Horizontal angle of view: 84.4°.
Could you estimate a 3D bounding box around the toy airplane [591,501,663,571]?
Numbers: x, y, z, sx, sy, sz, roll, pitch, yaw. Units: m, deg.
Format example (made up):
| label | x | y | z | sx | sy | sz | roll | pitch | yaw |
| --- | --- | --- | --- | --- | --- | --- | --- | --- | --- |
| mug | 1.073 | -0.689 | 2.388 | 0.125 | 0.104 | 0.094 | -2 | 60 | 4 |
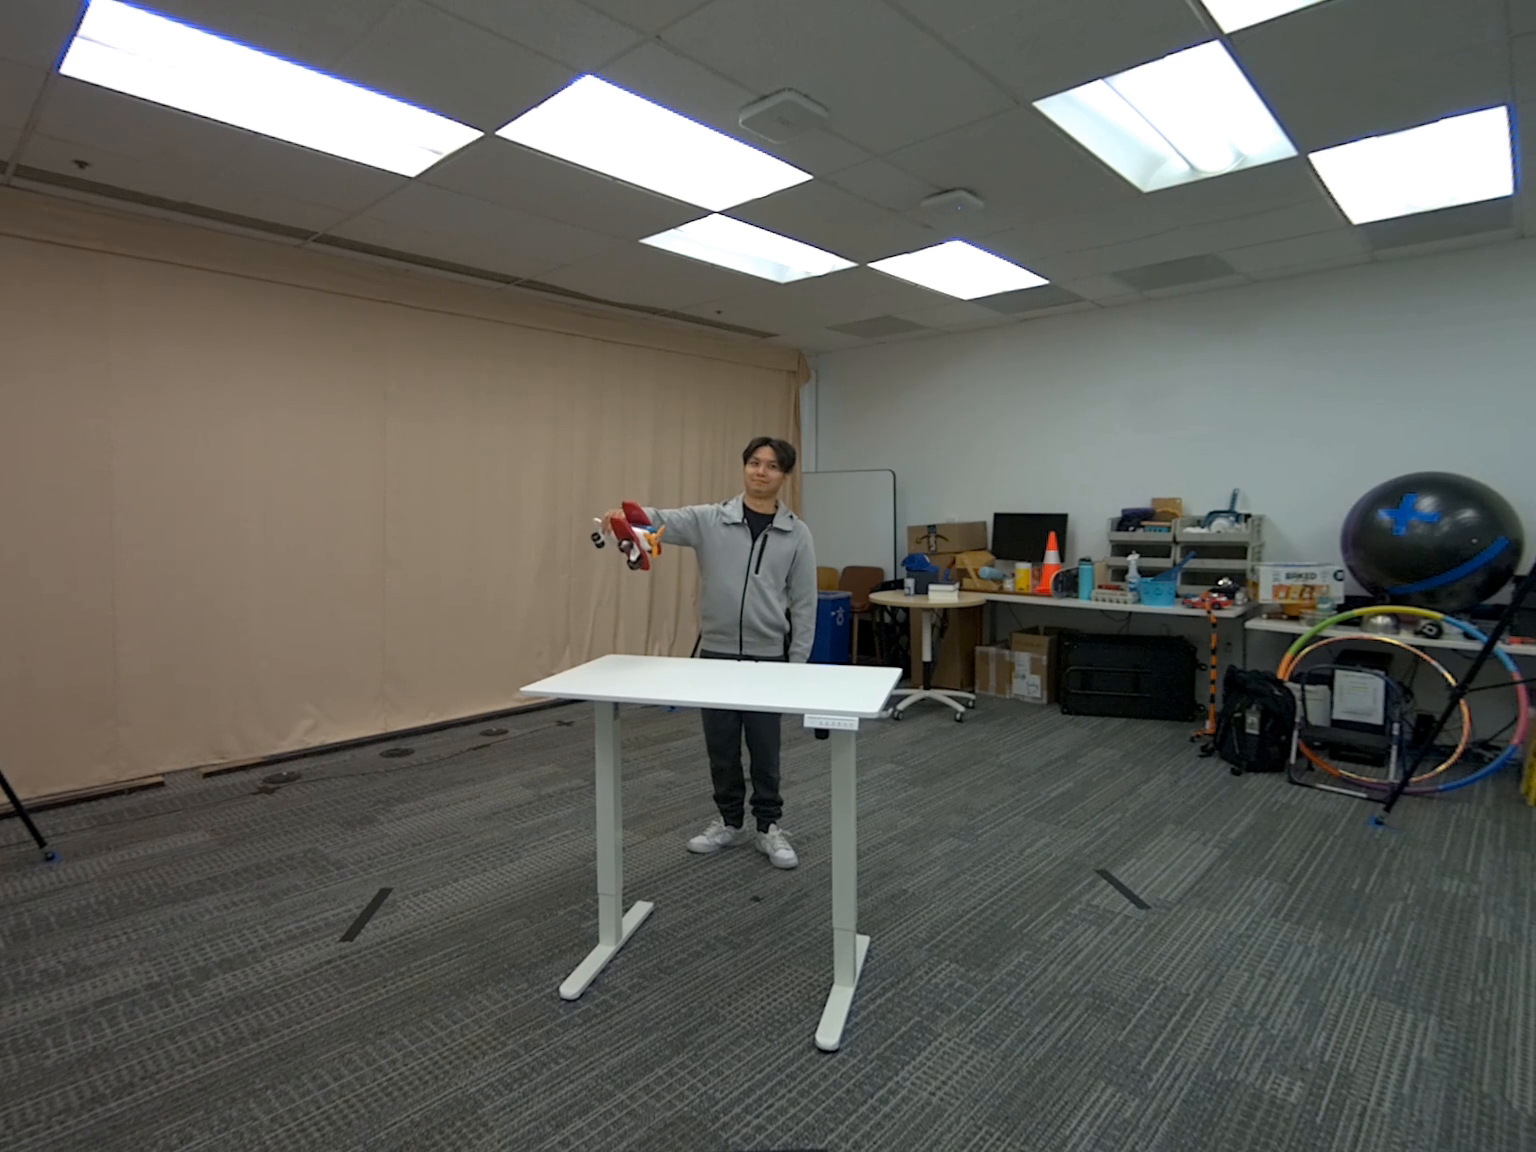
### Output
| label | x | y | z | sx | sy | sz | roll | pitch | yaw |
| --- | --- | --- | --- | --- | --- | --- | --- | --- | --- |
| toy airplane | -0.493 | -0.149 | 2.907 | 0.264 | 0.155 | 0.248 | 39 | -26 | 15 |
